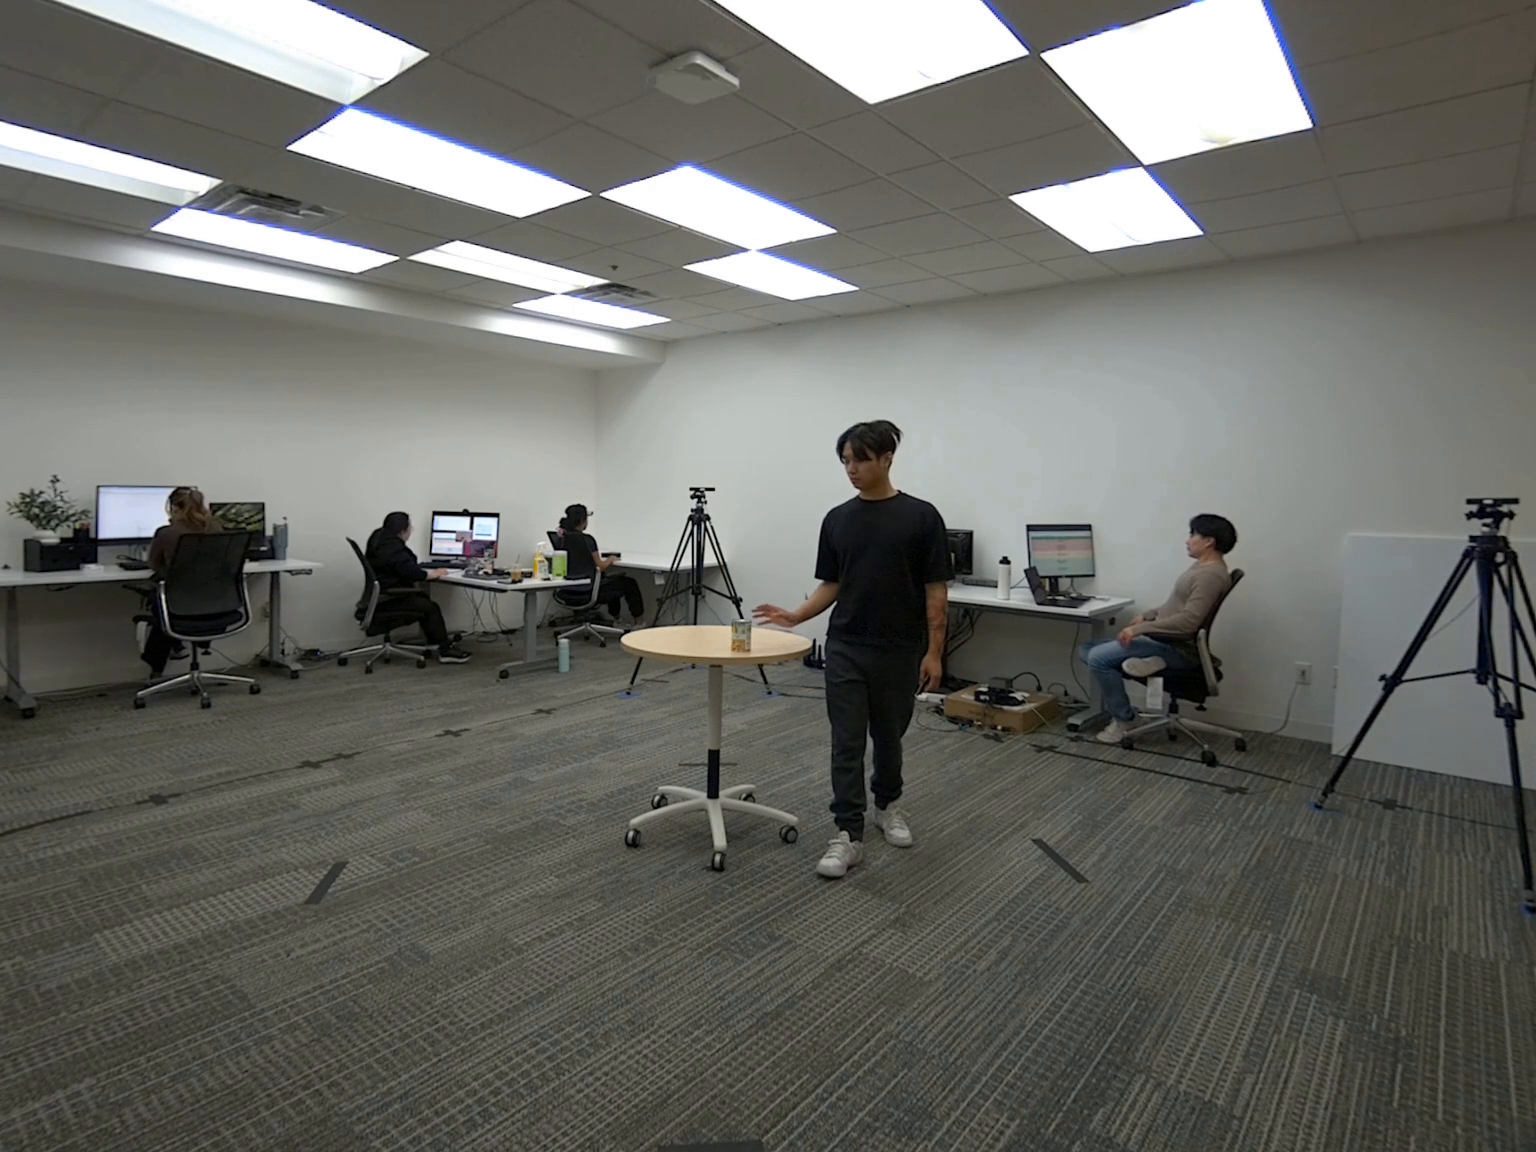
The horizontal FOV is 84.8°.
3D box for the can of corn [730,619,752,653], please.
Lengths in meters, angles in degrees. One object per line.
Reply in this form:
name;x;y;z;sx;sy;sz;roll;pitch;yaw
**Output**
can of corn;-0.109;0.219;3.197;0.074;0.111;0.074;4;3;-2
